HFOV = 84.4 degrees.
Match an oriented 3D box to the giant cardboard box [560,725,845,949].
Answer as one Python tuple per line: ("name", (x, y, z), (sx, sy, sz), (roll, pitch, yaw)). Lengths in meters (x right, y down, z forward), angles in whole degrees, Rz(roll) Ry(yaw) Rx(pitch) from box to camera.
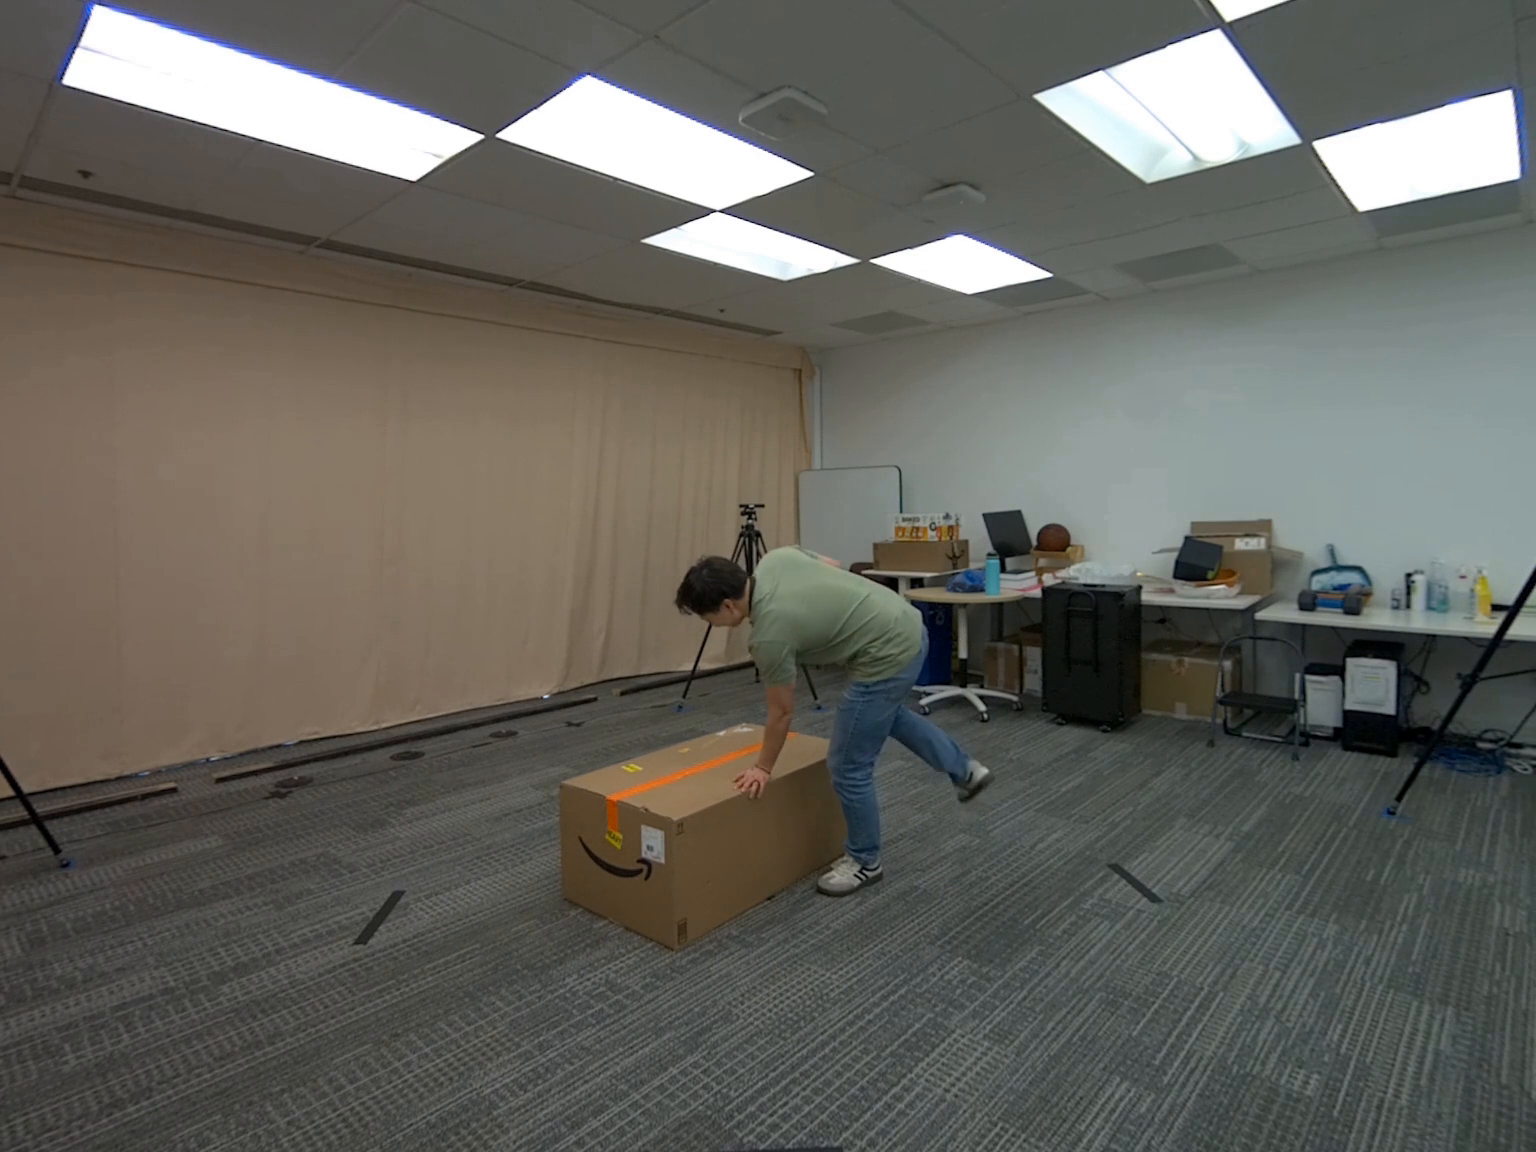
("giant cardboard box", (-0.194, 0.913, 3.184), (0.596, 0.425, 0.995), (2, 6, 40))
